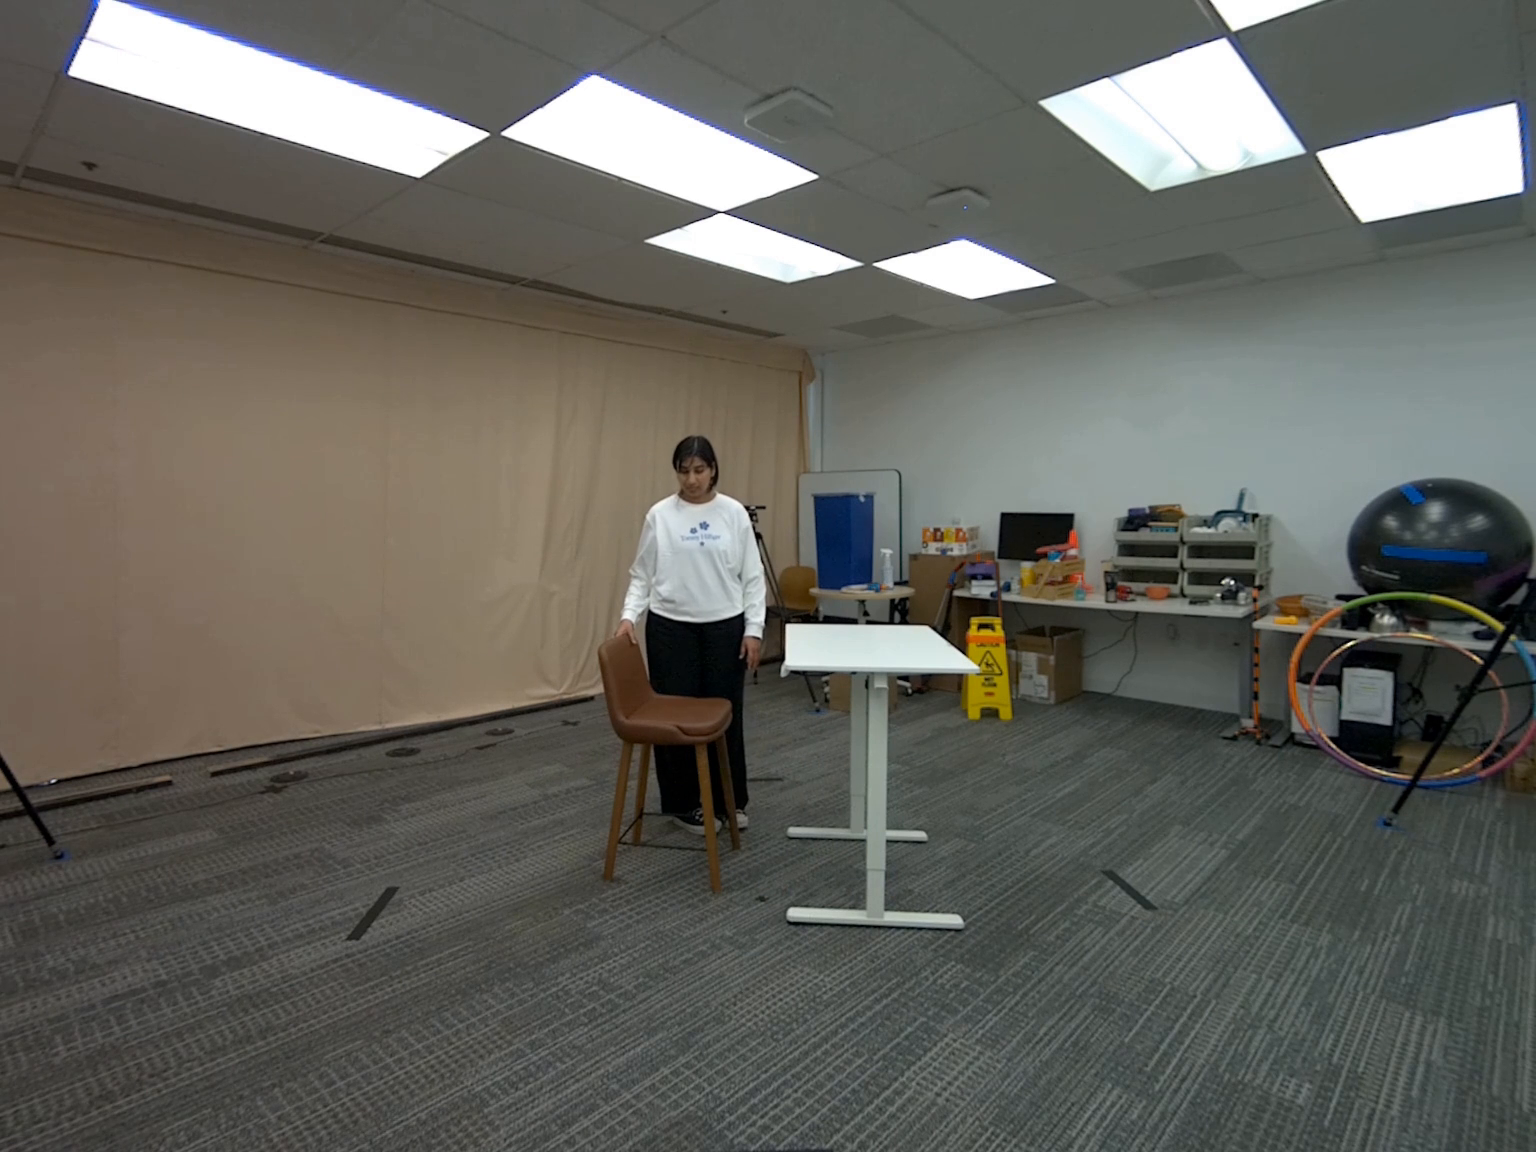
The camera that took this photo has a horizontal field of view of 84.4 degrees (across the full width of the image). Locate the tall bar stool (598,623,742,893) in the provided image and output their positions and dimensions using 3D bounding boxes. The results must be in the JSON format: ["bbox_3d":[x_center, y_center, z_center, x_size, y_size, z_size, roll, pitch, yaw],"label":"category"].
[{"bbox_3d":[-0.374,0.687,3.248,0.474,0.888,0.451,-2,2,12],"label":"tall bar stool"}]
